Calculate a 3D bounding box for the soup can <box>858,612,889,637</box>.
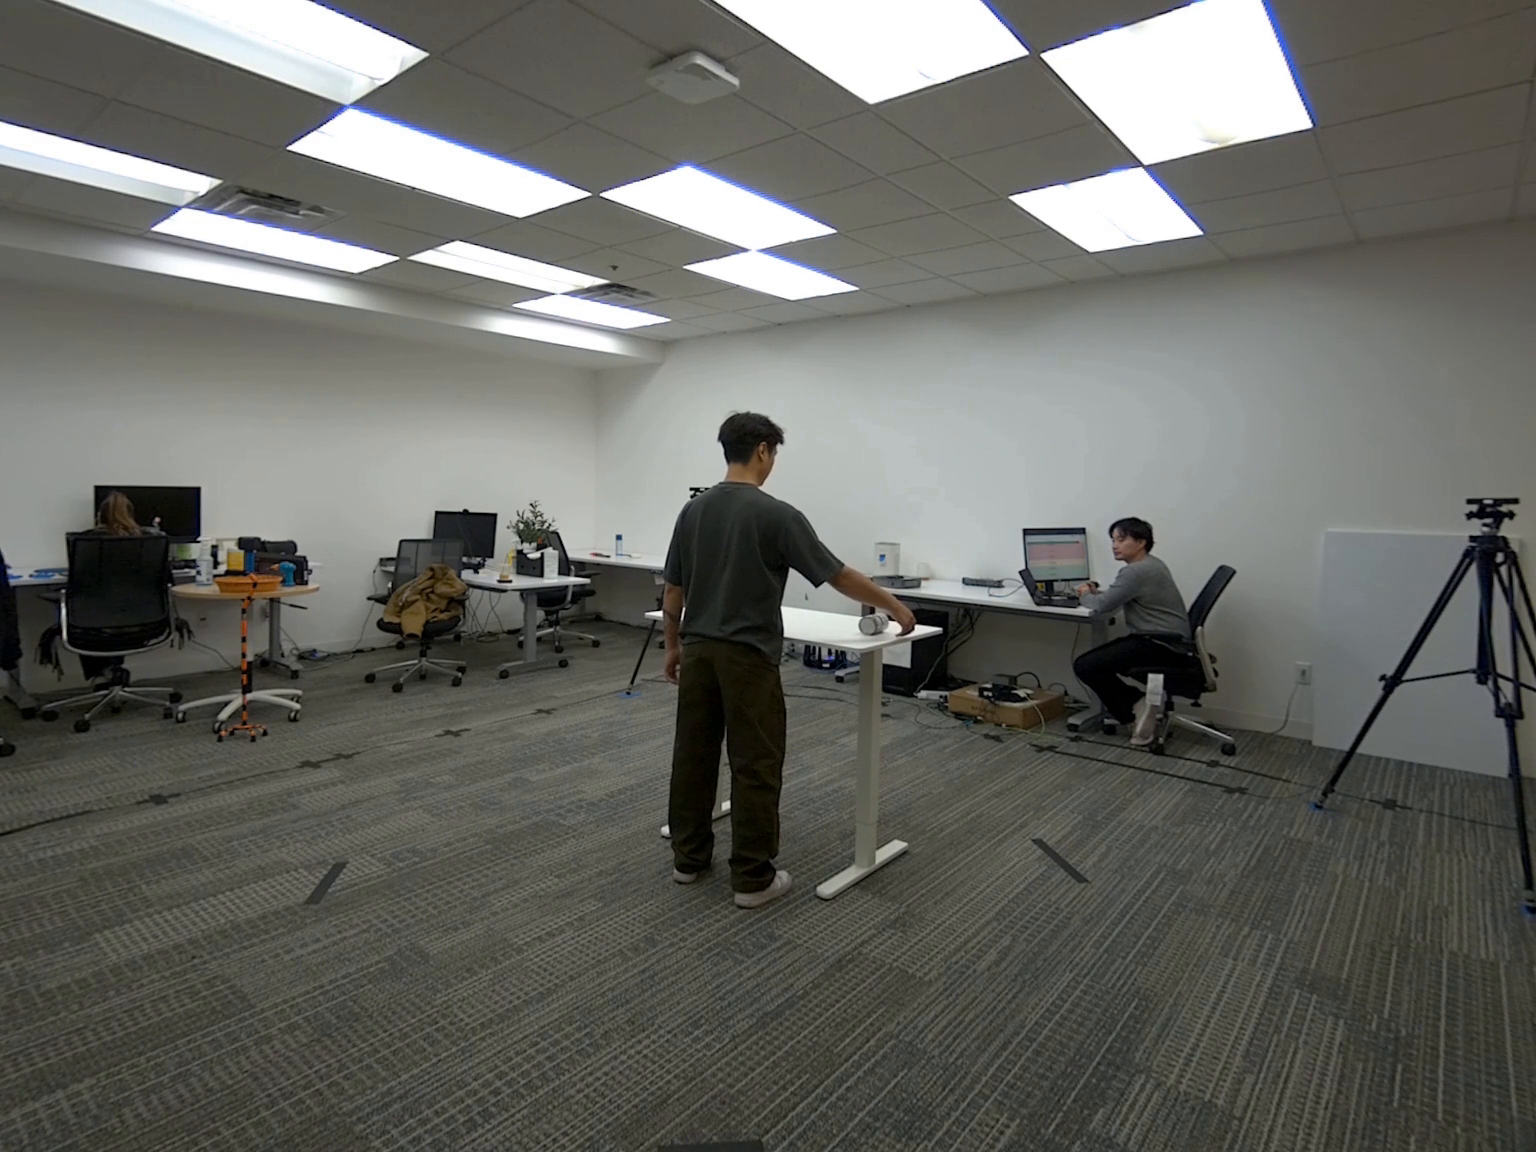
[{"bbox_3d":[0.374,0.172,3.059,0.069,0.067,0.118,4,6,37],"label":"soup can"}]
